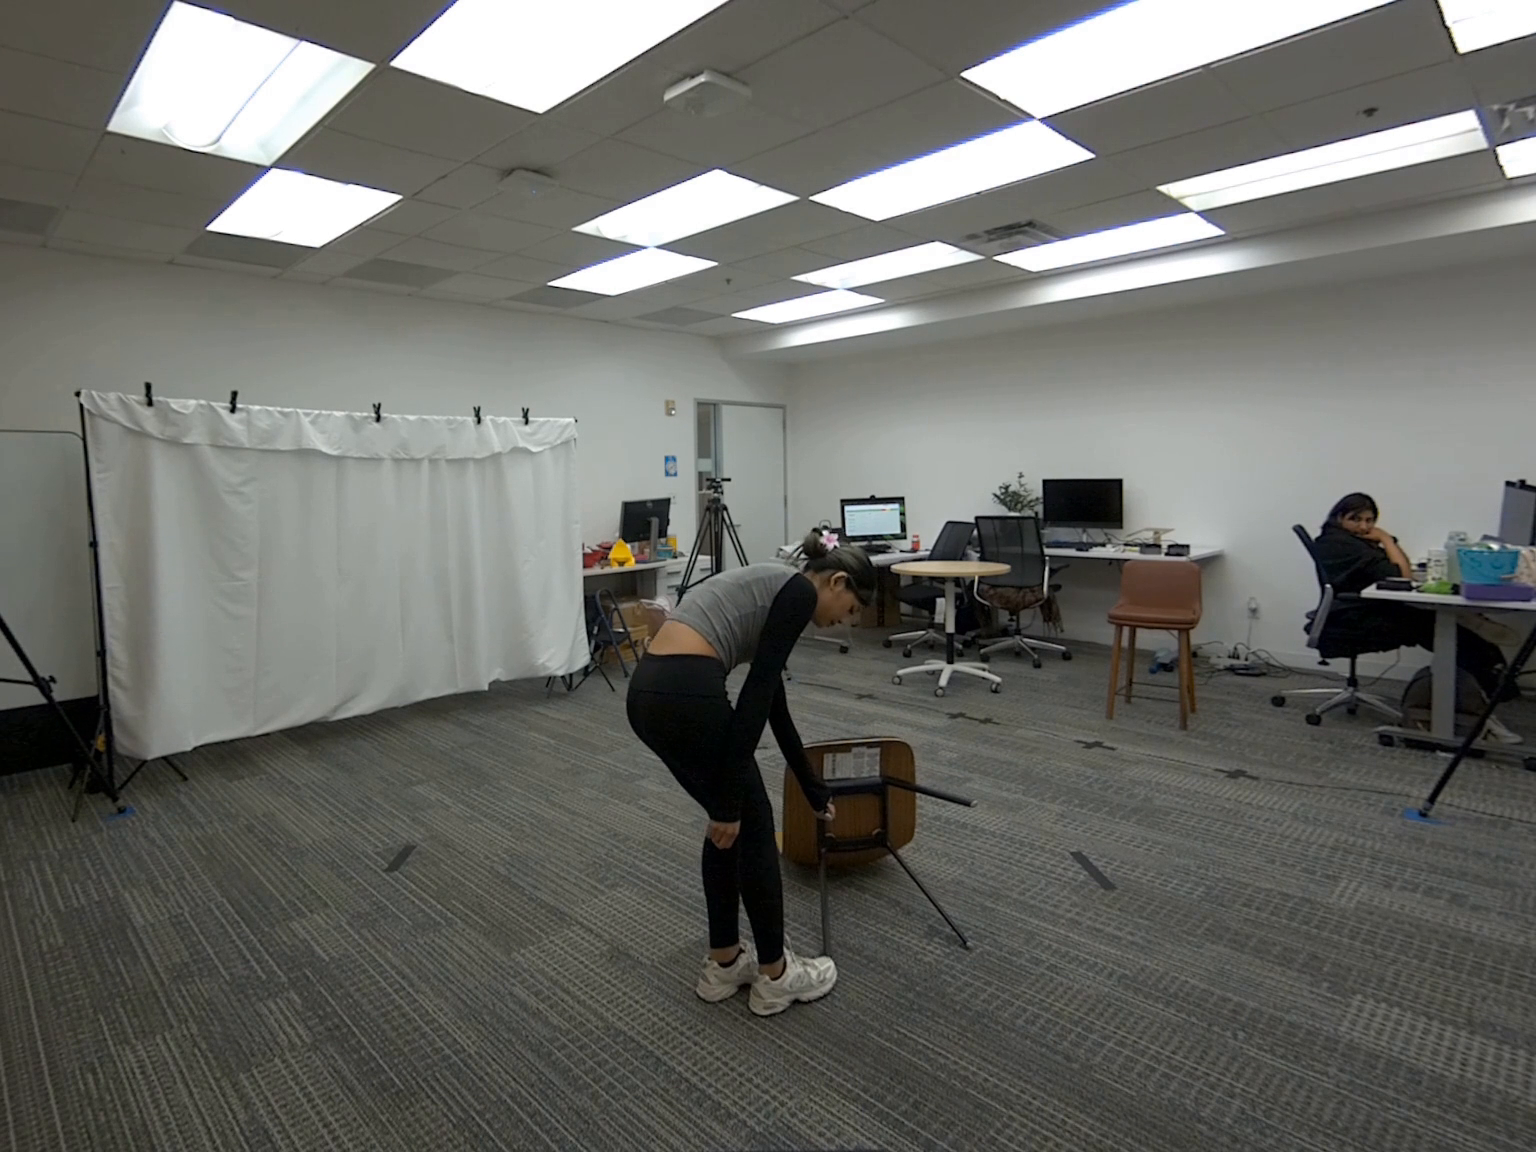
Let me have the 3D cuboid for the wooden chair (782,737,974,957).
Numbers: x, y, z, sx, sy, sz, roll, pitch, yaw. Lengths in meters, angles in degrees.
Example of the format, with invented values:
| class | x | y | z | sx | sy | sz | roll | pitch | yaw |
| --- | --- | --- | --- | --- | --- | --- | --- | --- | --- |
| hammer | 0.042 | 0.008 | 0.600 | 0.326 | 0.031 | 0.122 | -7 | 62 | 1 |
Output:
| class | x | y | z | sx | sy | sz | roll | pitch | yaw |
| --- | --- | --- | --- | --- | --- | --- | --- | --- | --- |
| wooden chair | 0.288 | 0.802 | 2.872 | 0.473 | 0.521 | 0.889 | -2 | 5 | -11 |
